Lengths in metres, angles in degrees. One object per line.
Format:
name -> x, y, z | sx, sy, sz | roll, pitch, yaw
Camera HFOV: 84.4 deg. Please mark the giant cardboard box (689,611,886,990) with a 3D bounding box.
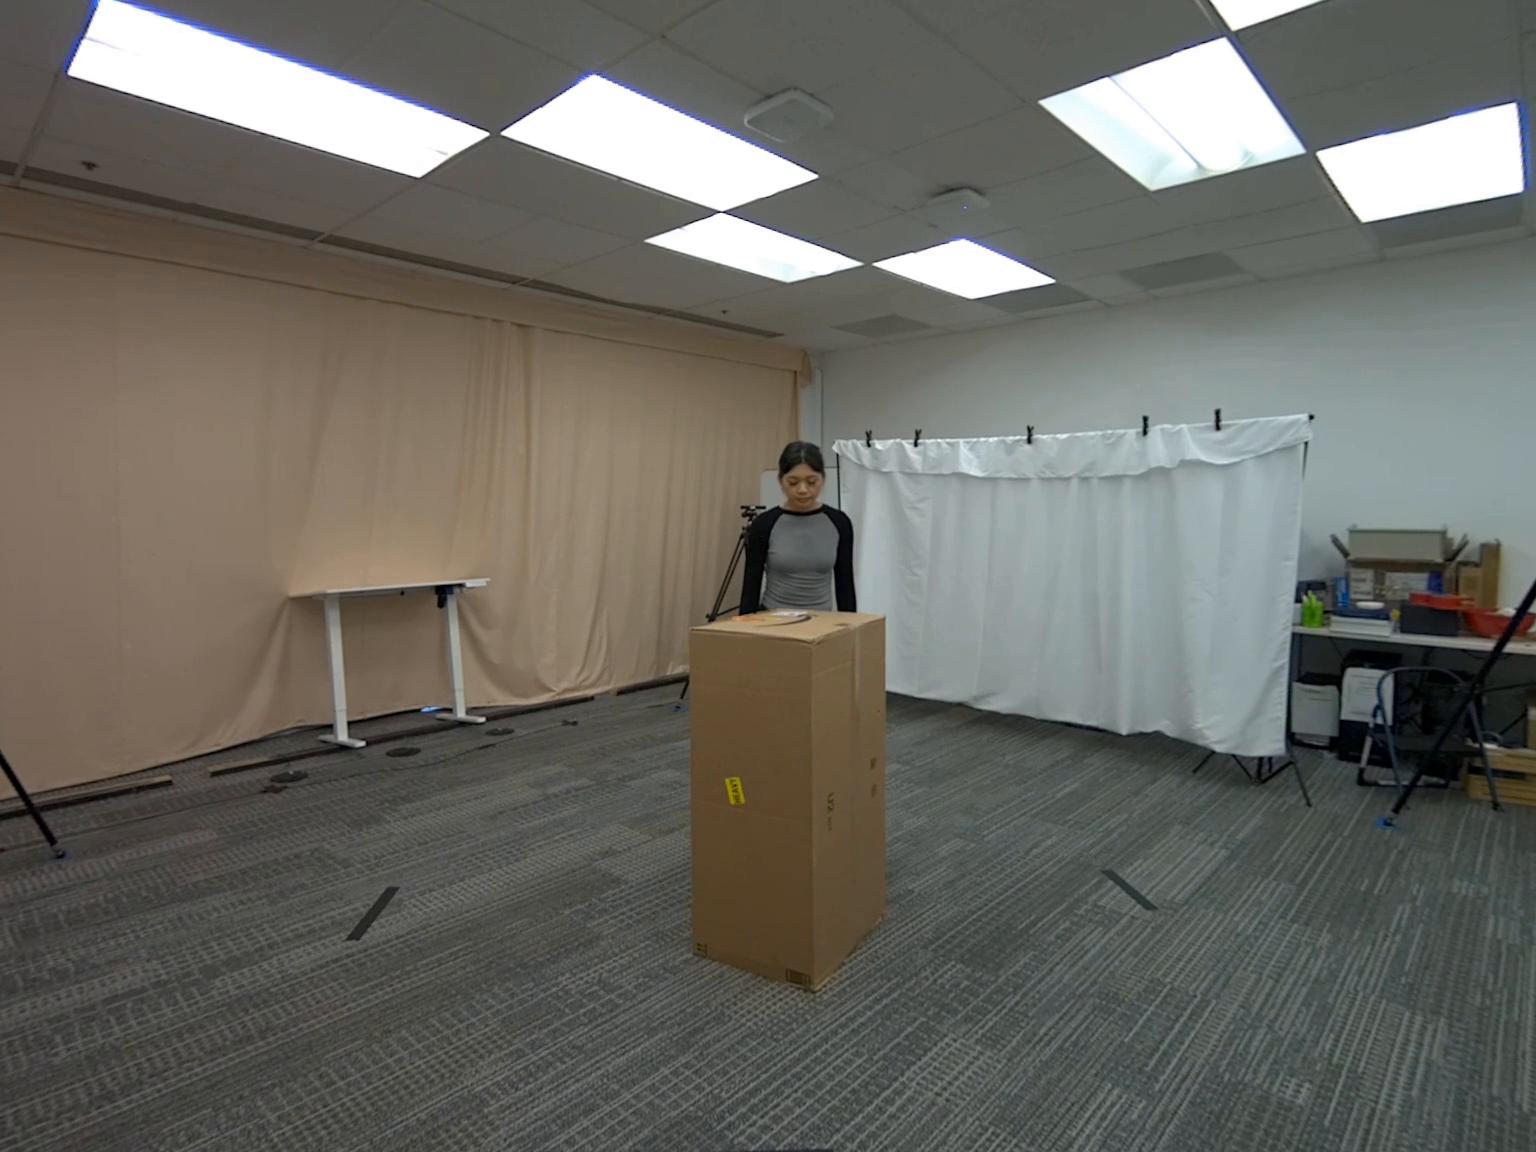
giant cardboard box -> 0.081, 0.656, 2.723 | 0.439, 1.024, 0.562 | 2, 4, 31
